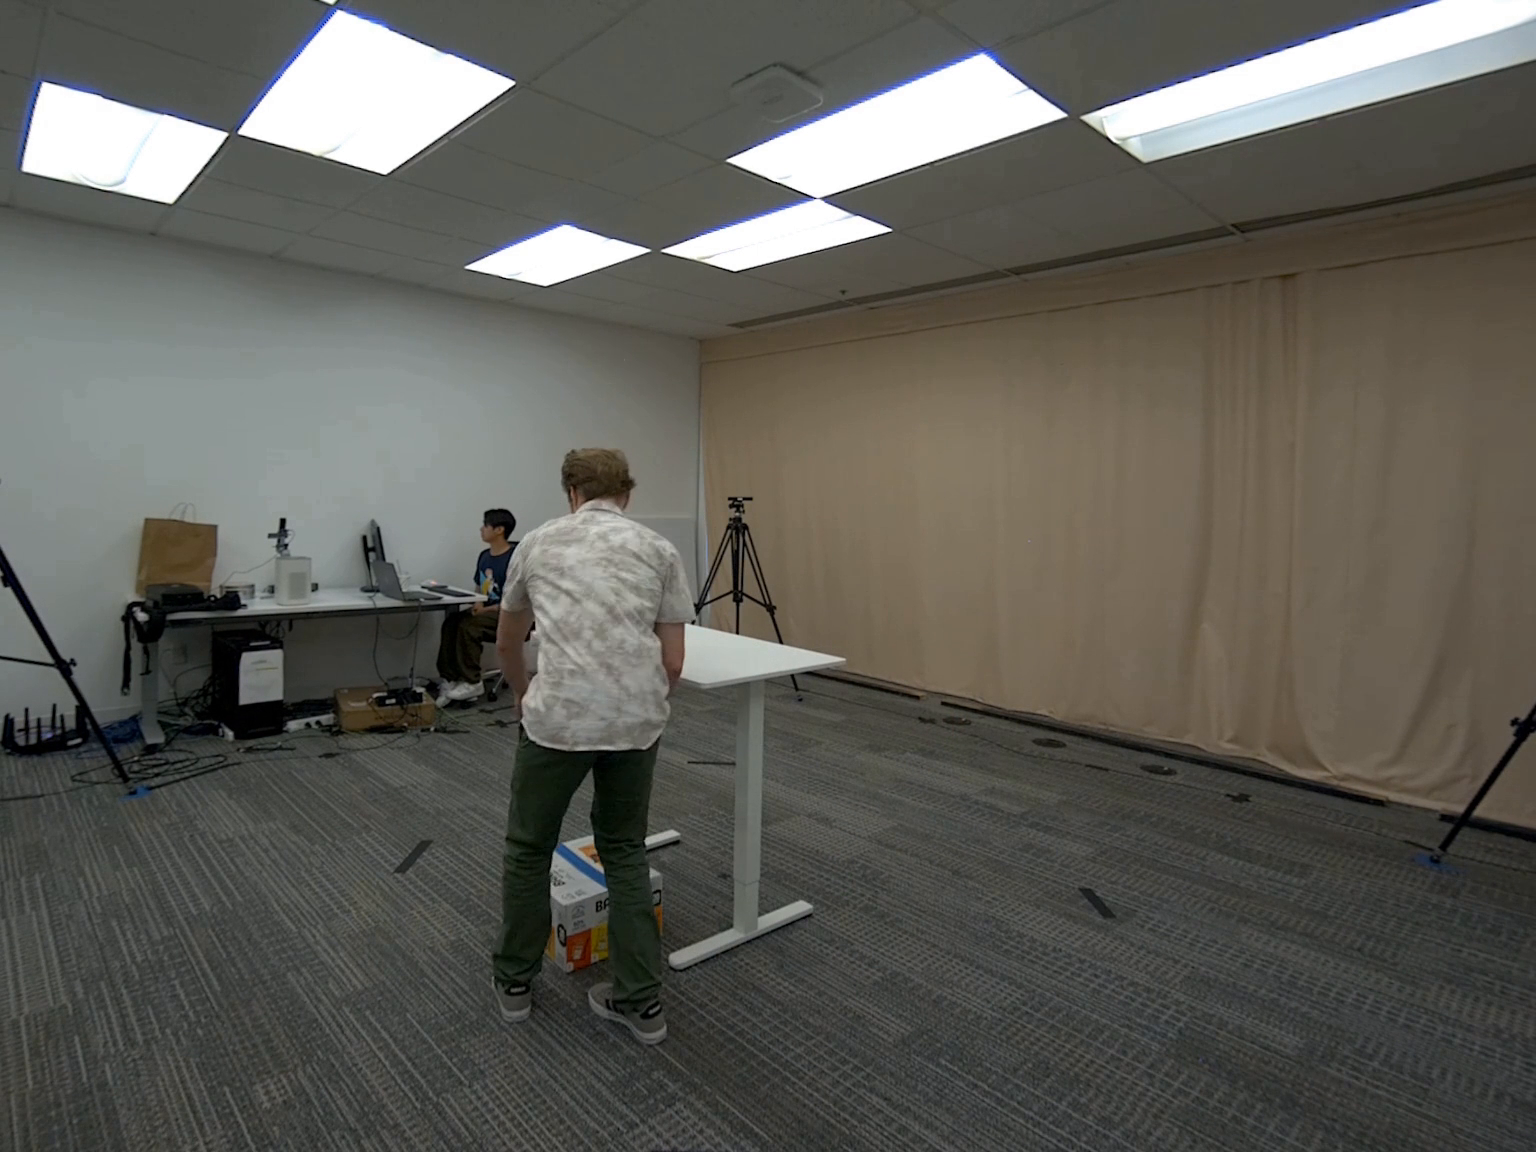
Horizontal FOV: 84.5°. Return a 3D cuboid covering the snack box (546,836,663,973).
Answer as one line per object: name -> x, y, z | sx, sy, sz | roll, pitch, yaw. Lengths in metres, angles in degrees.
snack box -> -0.603, 1.037, 2.697 | 0.332, 0.205, 0.415 | -2, 6, -40
